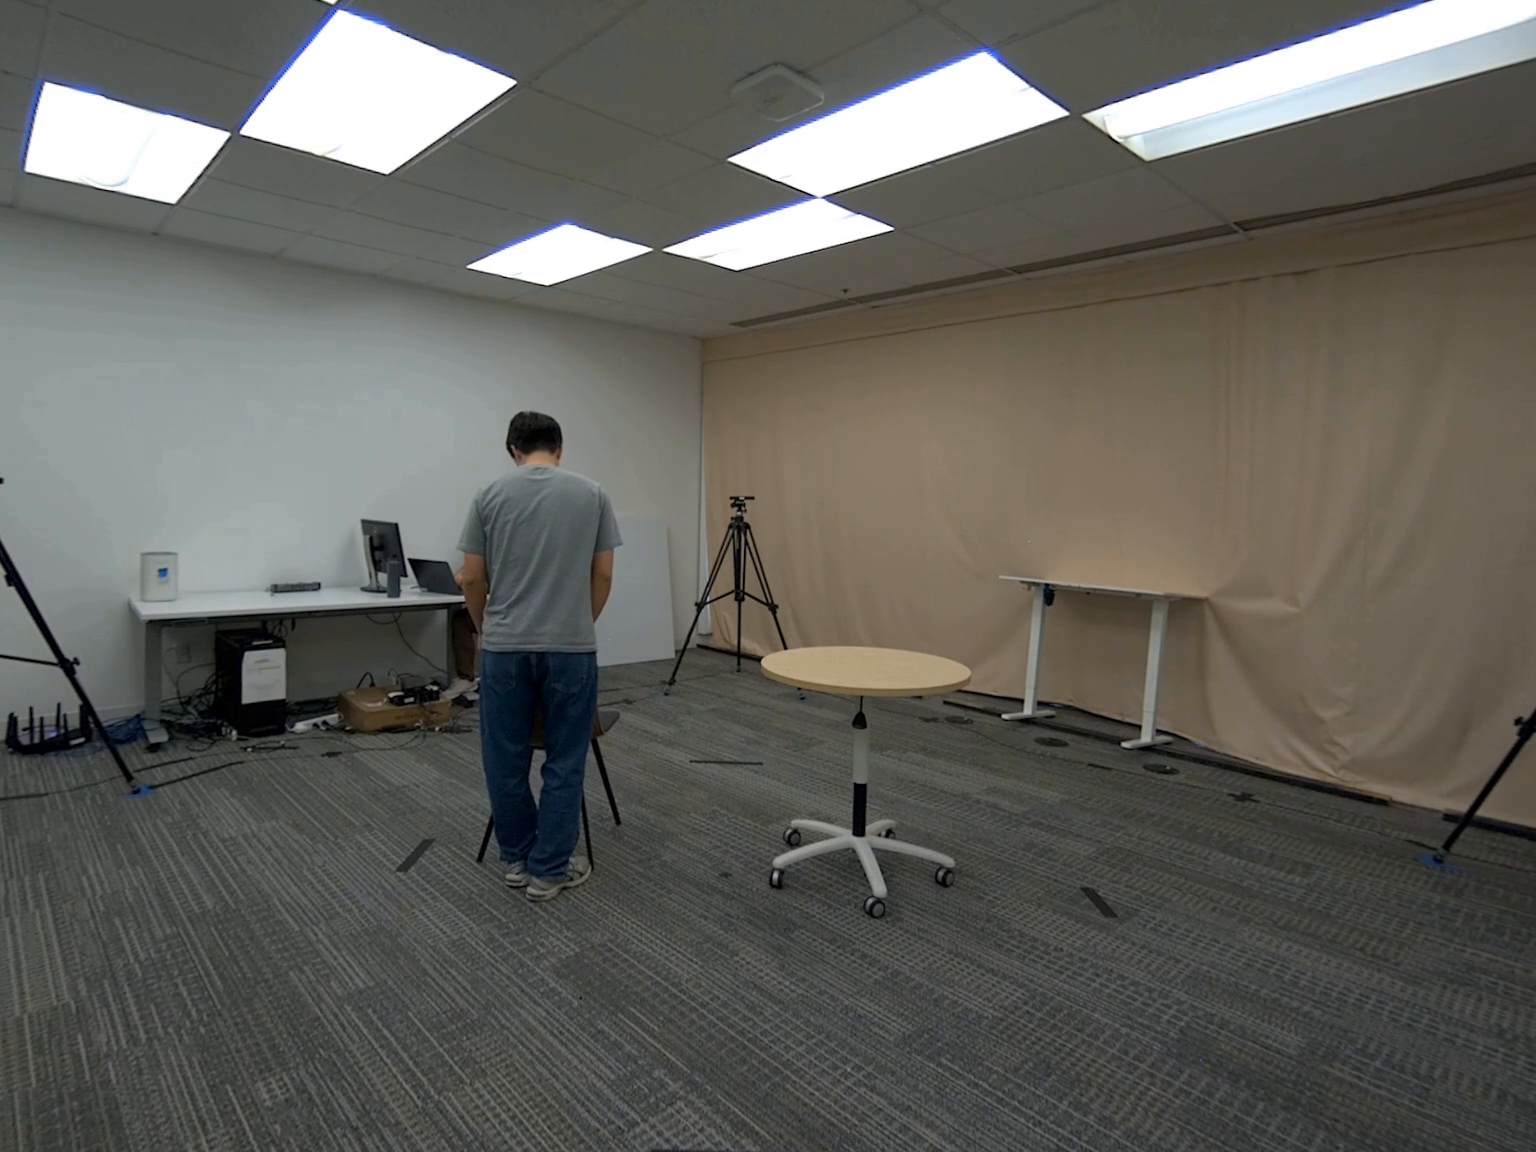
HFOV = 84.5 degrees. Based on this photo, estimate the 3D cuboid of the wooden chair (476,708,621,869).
[{"bbox_3d":[-0.841,0.638,3.342,0.480,0.872,0.523,1,8,5],"label":"wooden chair"}]
